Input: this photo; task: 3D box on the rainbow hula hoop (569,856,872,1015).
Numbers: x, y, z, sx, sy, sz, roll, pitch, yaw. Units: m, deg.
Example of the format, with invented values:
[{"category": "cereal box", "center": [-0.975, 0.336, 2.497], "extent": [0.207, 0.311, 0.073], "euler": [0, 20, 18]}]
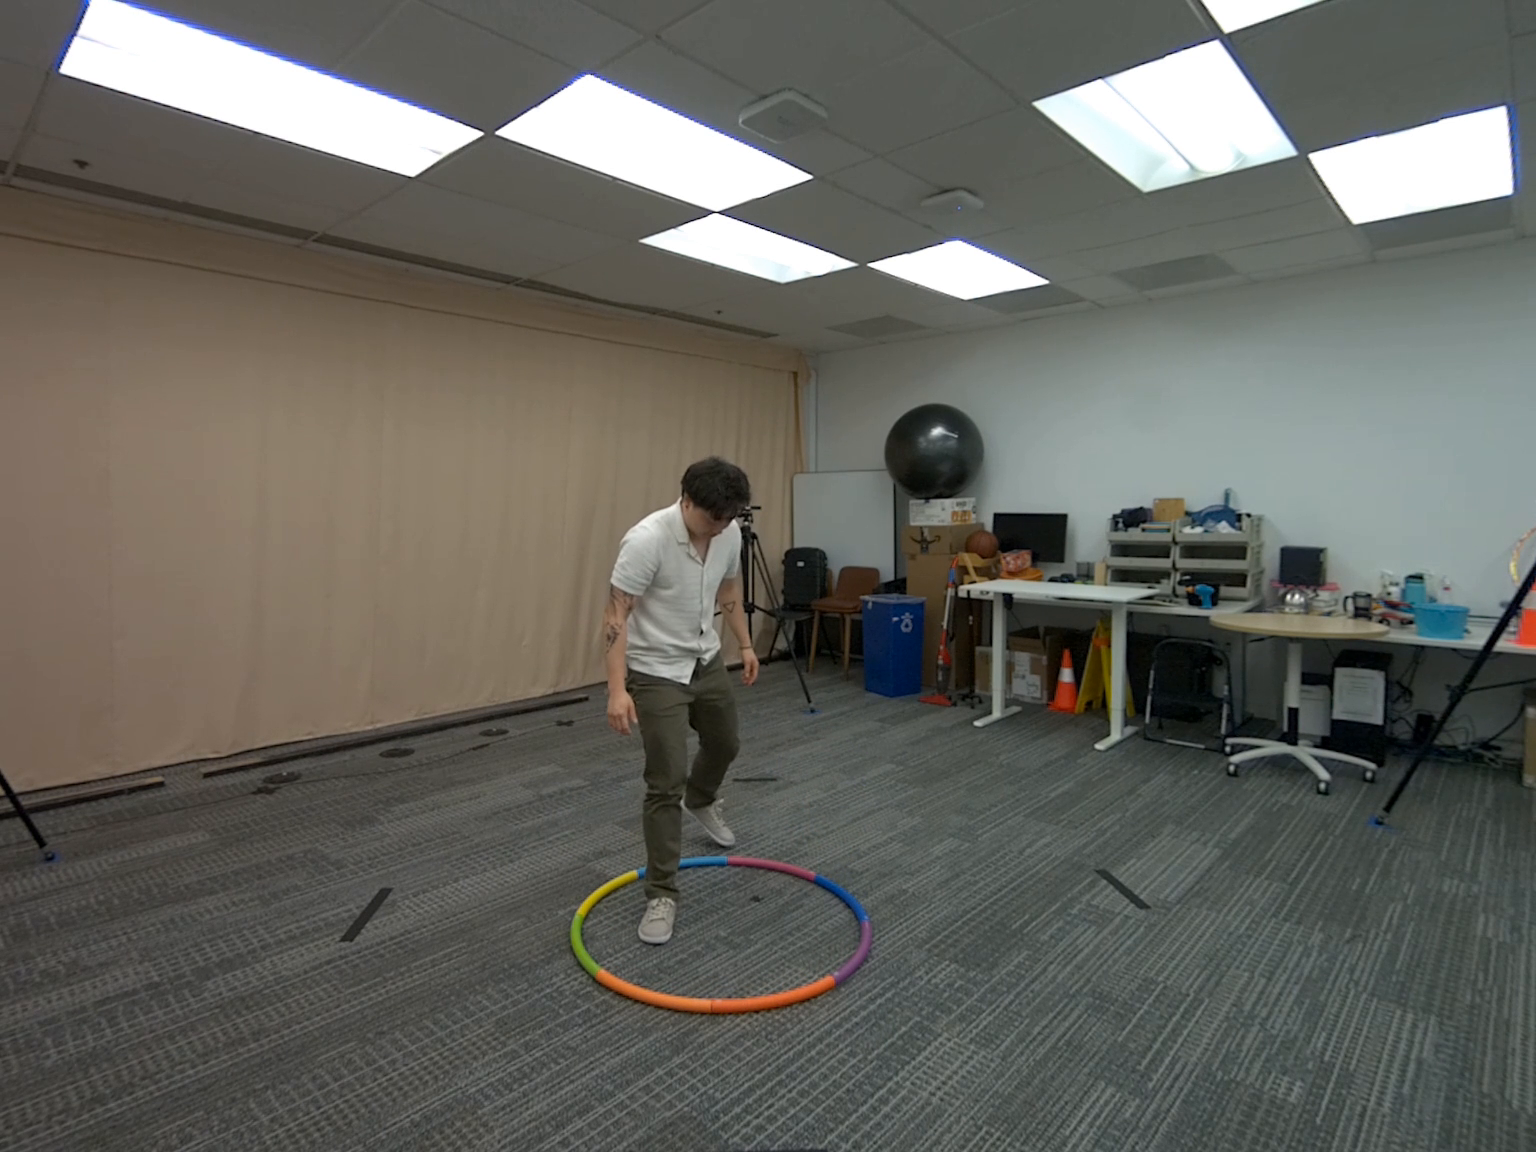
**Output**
[{"category": "rainbow hula hoop", "center": [-0.151, 1.132, 2.789], "extent": [0.978, 0.035, 0.982], "euler": [0, 5, -2]}]
